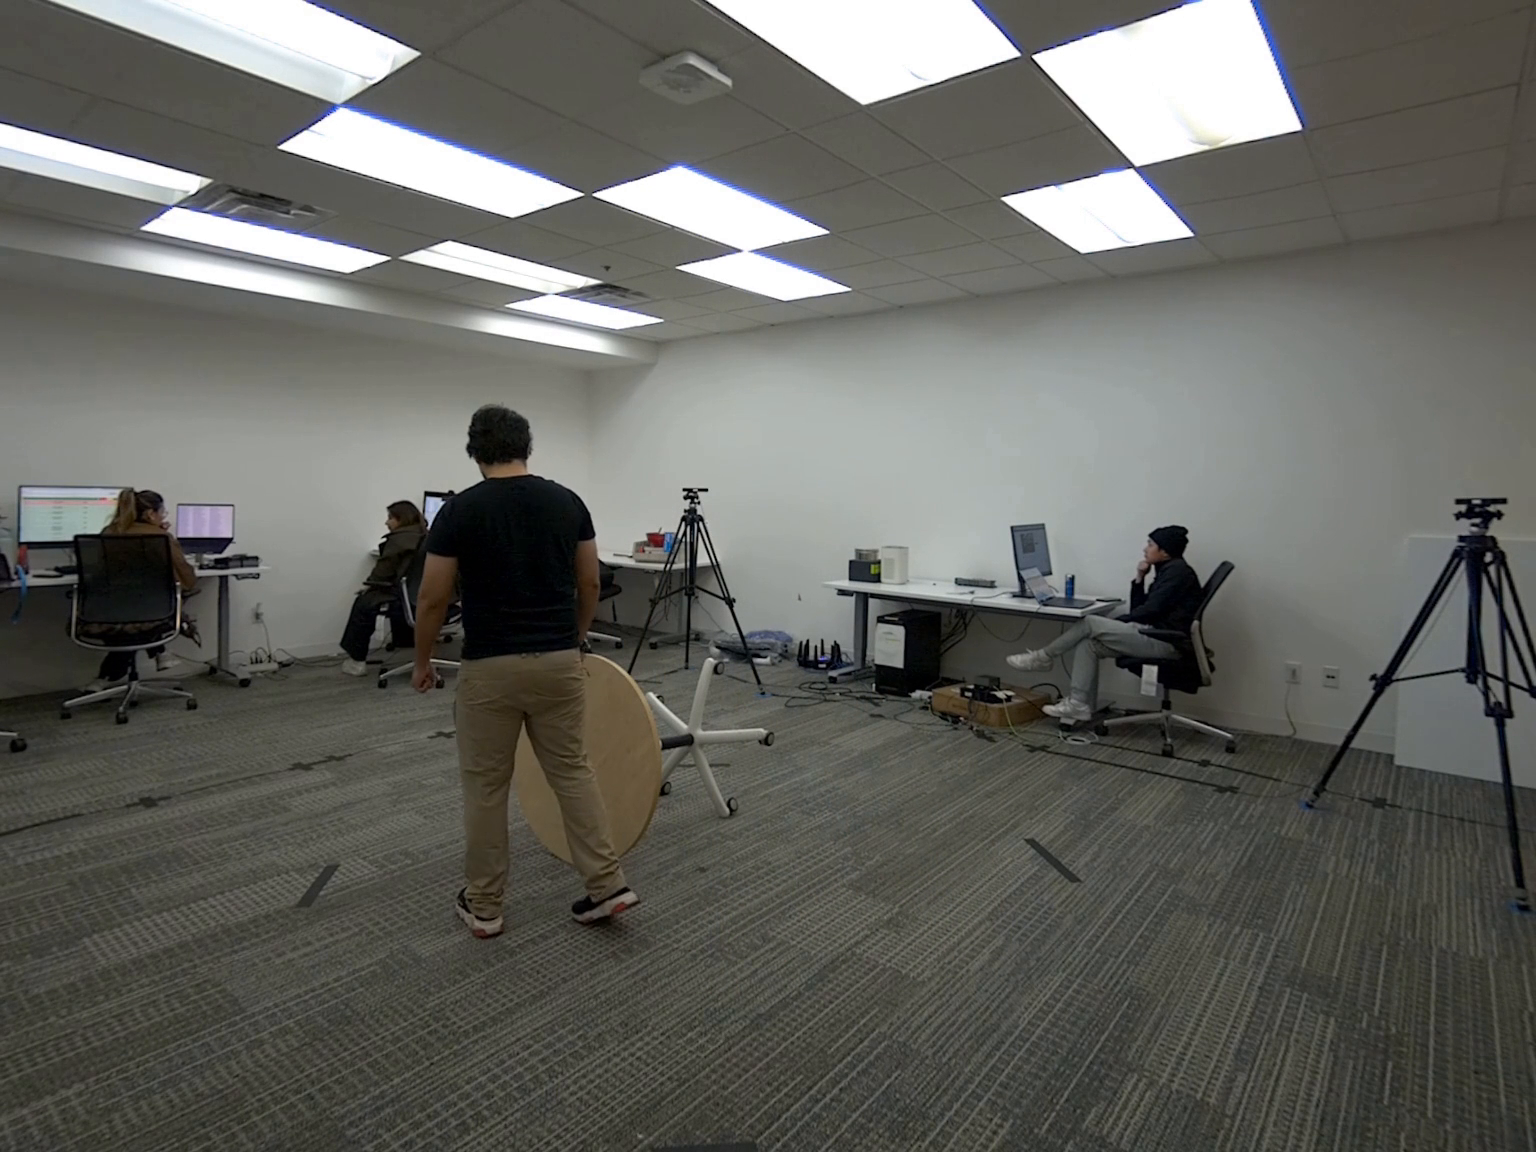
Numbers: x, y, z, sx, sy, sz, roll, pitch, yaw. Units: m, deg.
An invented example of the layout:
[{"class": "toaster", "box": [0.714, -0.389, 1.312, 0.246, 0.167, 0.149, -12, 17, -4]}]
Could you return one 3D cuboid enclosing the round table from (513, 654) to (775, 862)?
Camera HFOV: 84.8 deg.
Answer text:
[{"class": "round table", "box": [-0.489, 0.698, 3.465, 0.811, 0.787, 0.760, 4, -2, 36]}]
